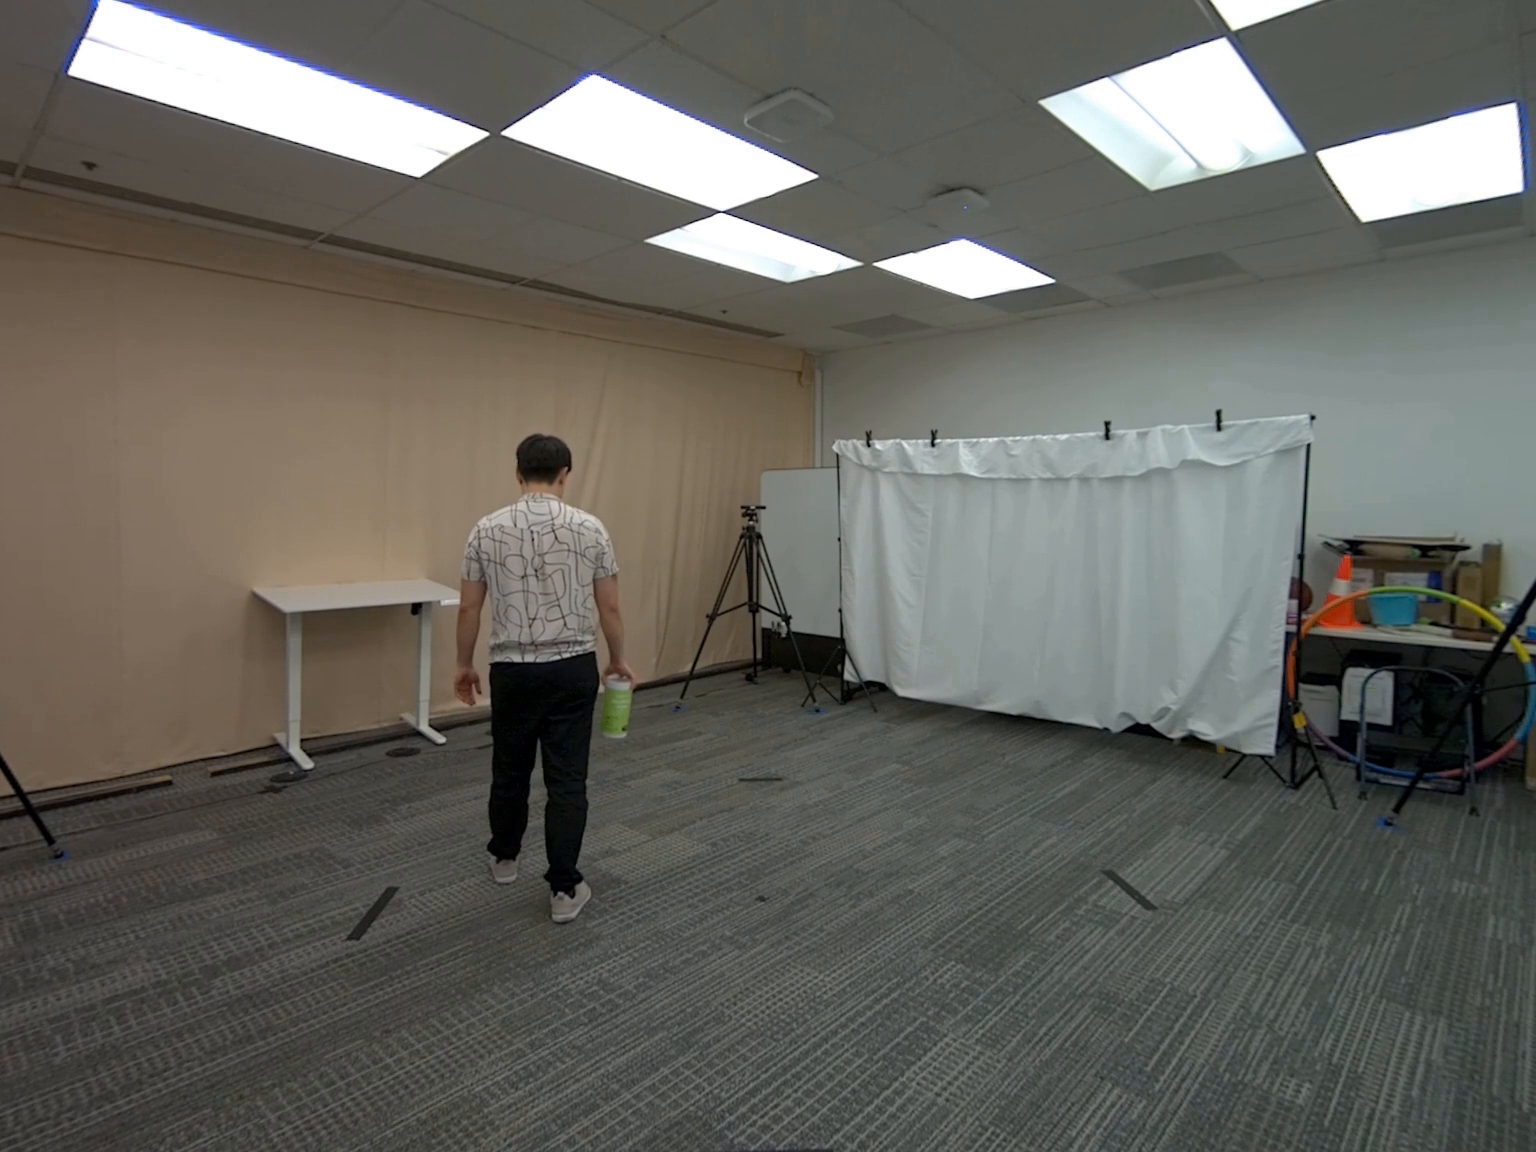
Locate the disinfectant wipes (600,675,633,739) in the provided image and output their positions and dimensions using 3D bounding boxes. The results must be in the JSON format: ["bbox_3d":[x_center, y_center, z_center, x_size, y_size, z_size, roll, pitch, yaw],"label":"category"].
[{"bbox_3d":[-0.580,0.499,3.169,0.117,0.217,0.118,6,5,-2],"label":"disinfectant wipes"}]
